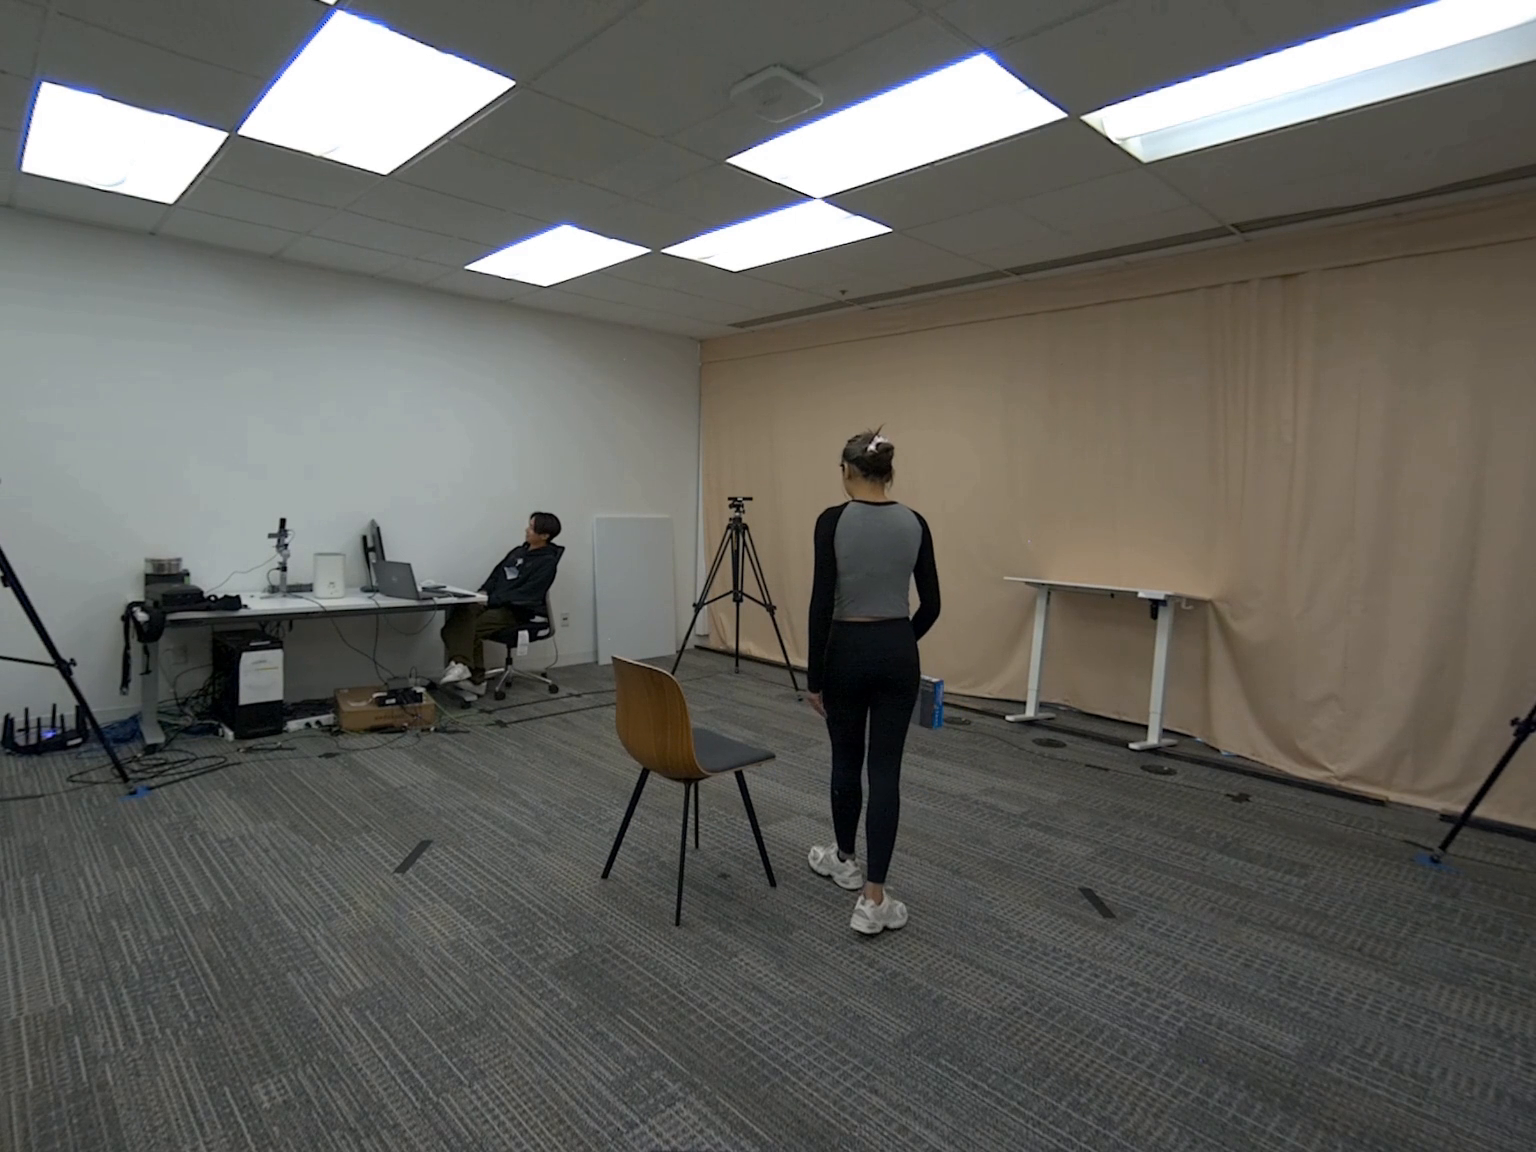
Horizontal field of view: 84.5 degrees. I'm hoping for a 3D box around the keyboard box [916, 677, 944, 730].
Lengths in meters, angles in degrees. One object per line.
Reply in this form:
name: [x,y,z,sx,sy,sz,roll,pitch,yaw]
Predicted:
keyboard box: [0.435,0.430,3.102,0.449,0.175,0.058,10,10,44]
